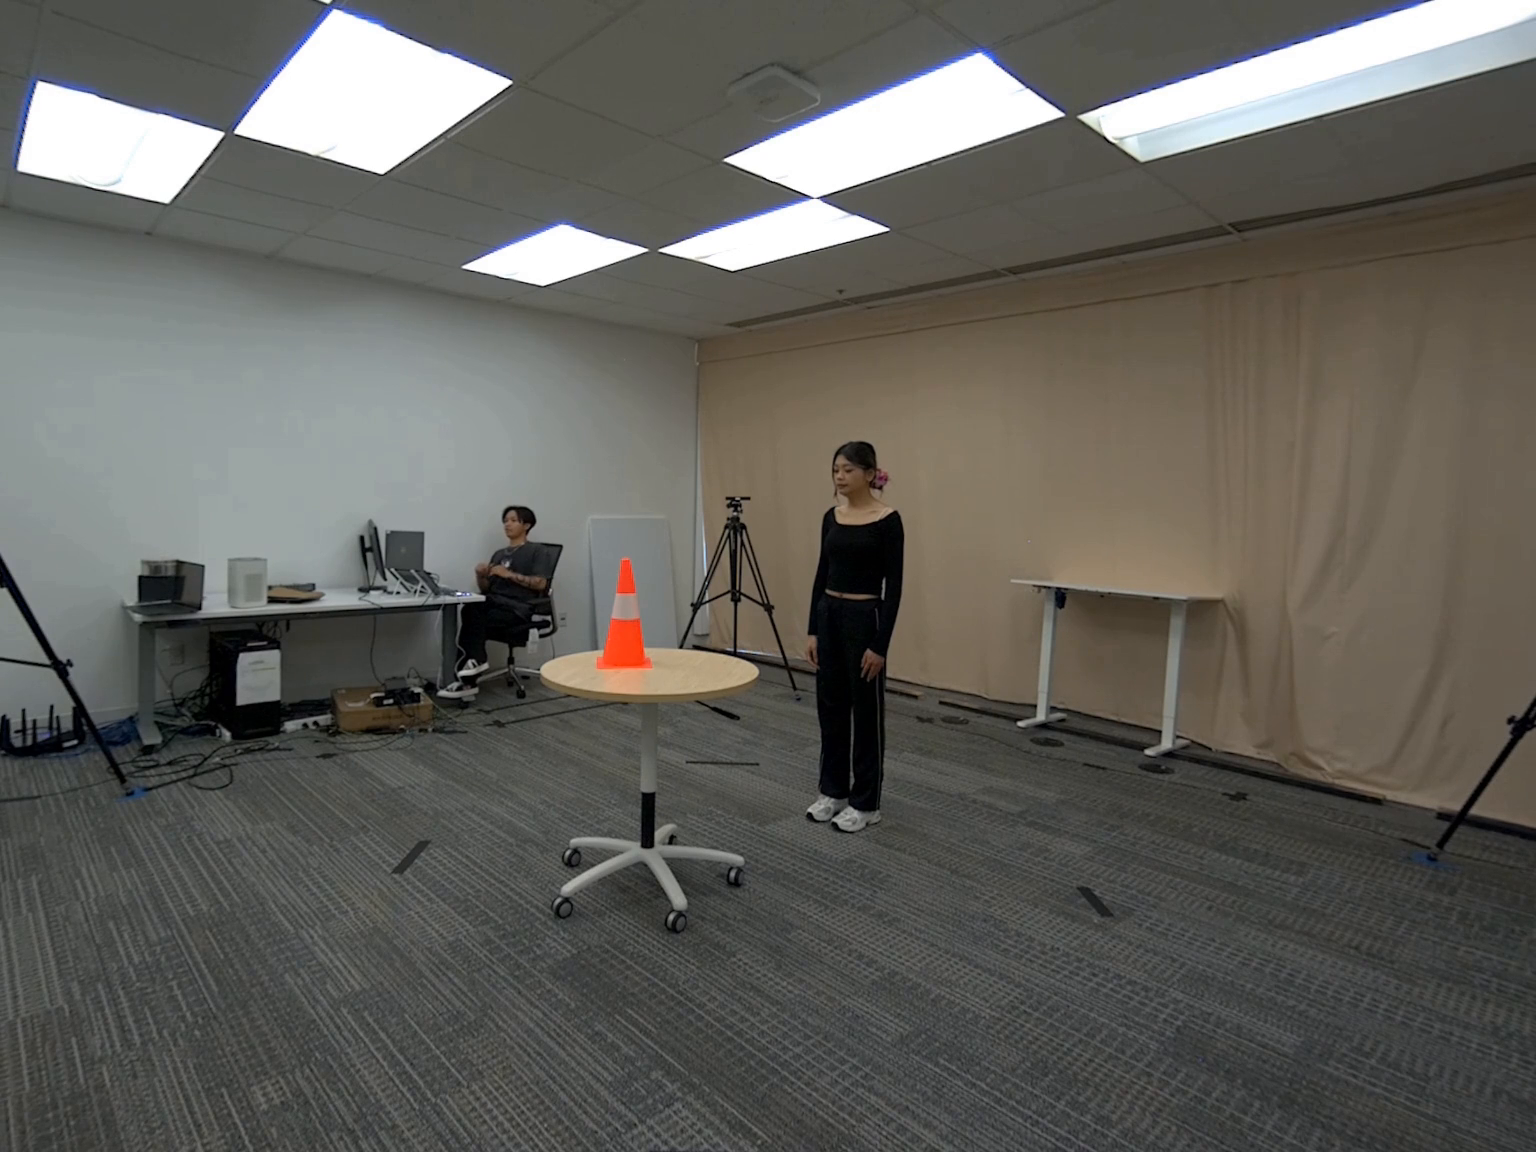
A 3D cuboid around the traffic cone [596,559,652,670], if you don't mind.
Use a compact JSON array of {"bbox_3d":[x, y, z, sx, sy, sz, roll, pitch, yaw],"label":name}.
[{"bbox_3d":[-0.523,0.131,3.037,0.201,0.382,0.208,1,5,-13],"label":"traffic cone"}]
